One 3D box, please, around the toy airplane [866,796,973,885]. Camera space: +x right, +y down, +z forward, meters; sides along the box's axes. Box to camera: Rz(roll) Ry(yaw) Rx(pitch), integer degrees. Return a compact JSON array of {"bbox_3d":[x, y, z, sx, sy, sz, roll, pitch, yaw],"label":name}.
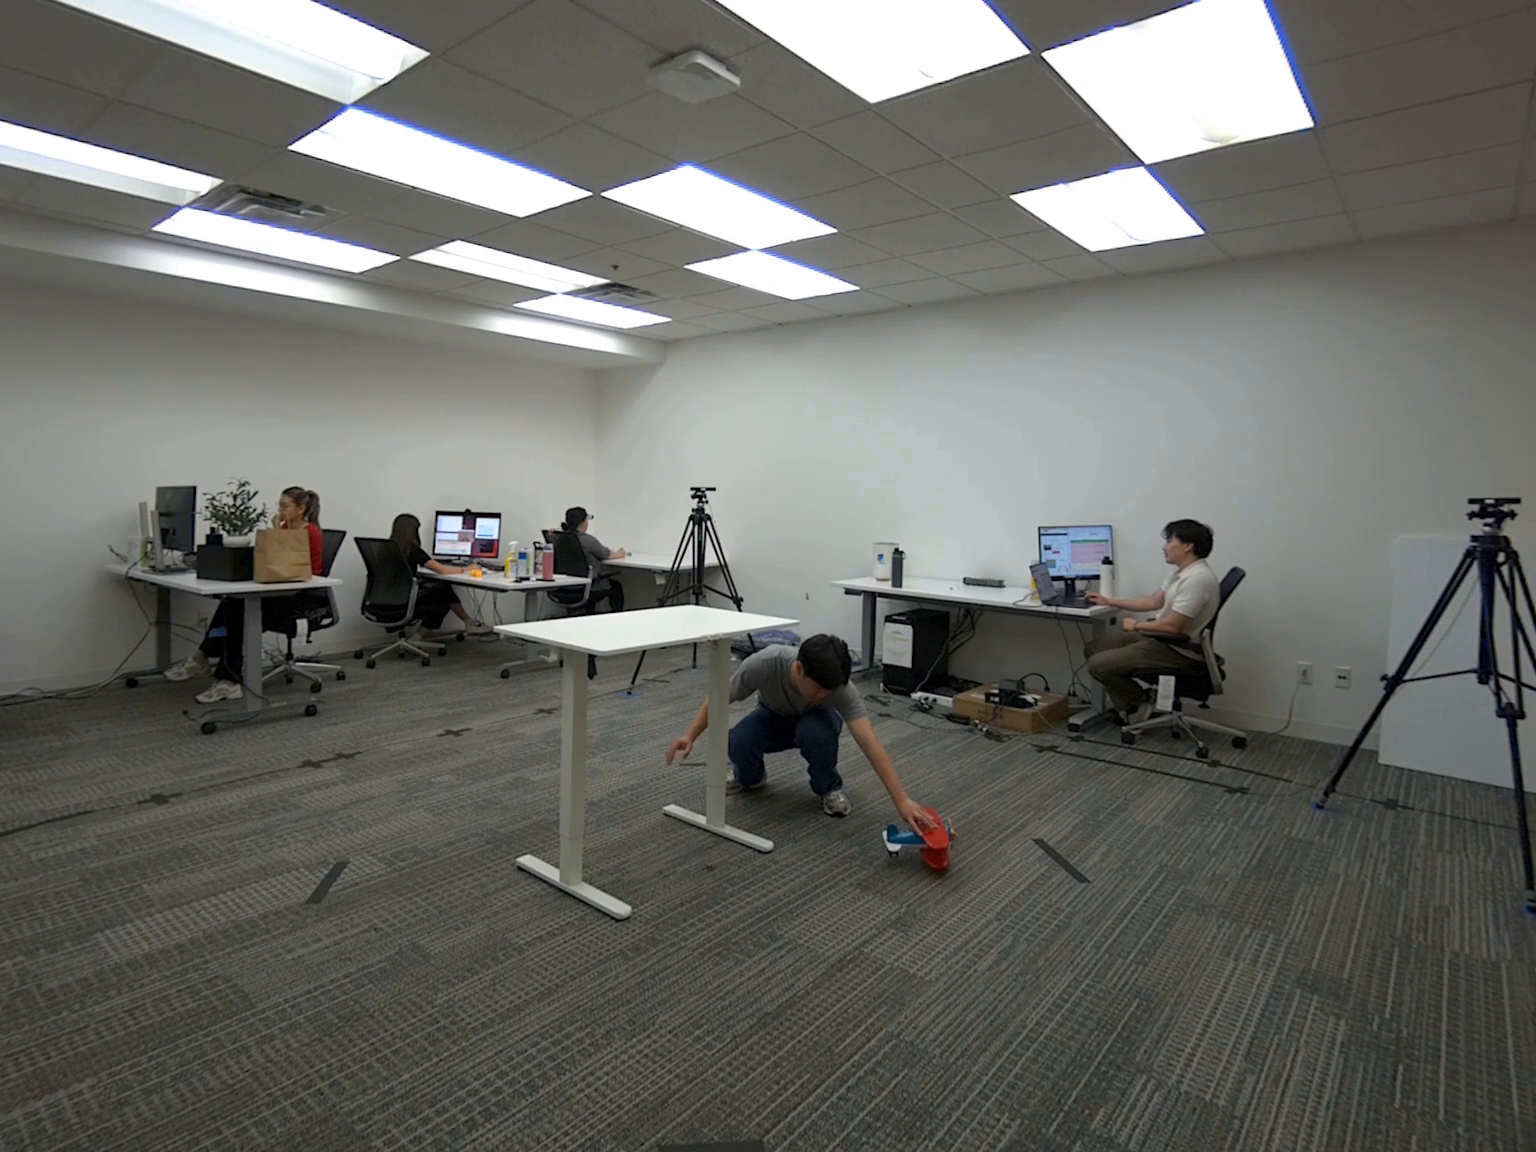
[{"bbox_3d":[0.563,0.983,3.158,0.252,0.155,0.261,0,19,-33],"label":"toy airplane"}]
